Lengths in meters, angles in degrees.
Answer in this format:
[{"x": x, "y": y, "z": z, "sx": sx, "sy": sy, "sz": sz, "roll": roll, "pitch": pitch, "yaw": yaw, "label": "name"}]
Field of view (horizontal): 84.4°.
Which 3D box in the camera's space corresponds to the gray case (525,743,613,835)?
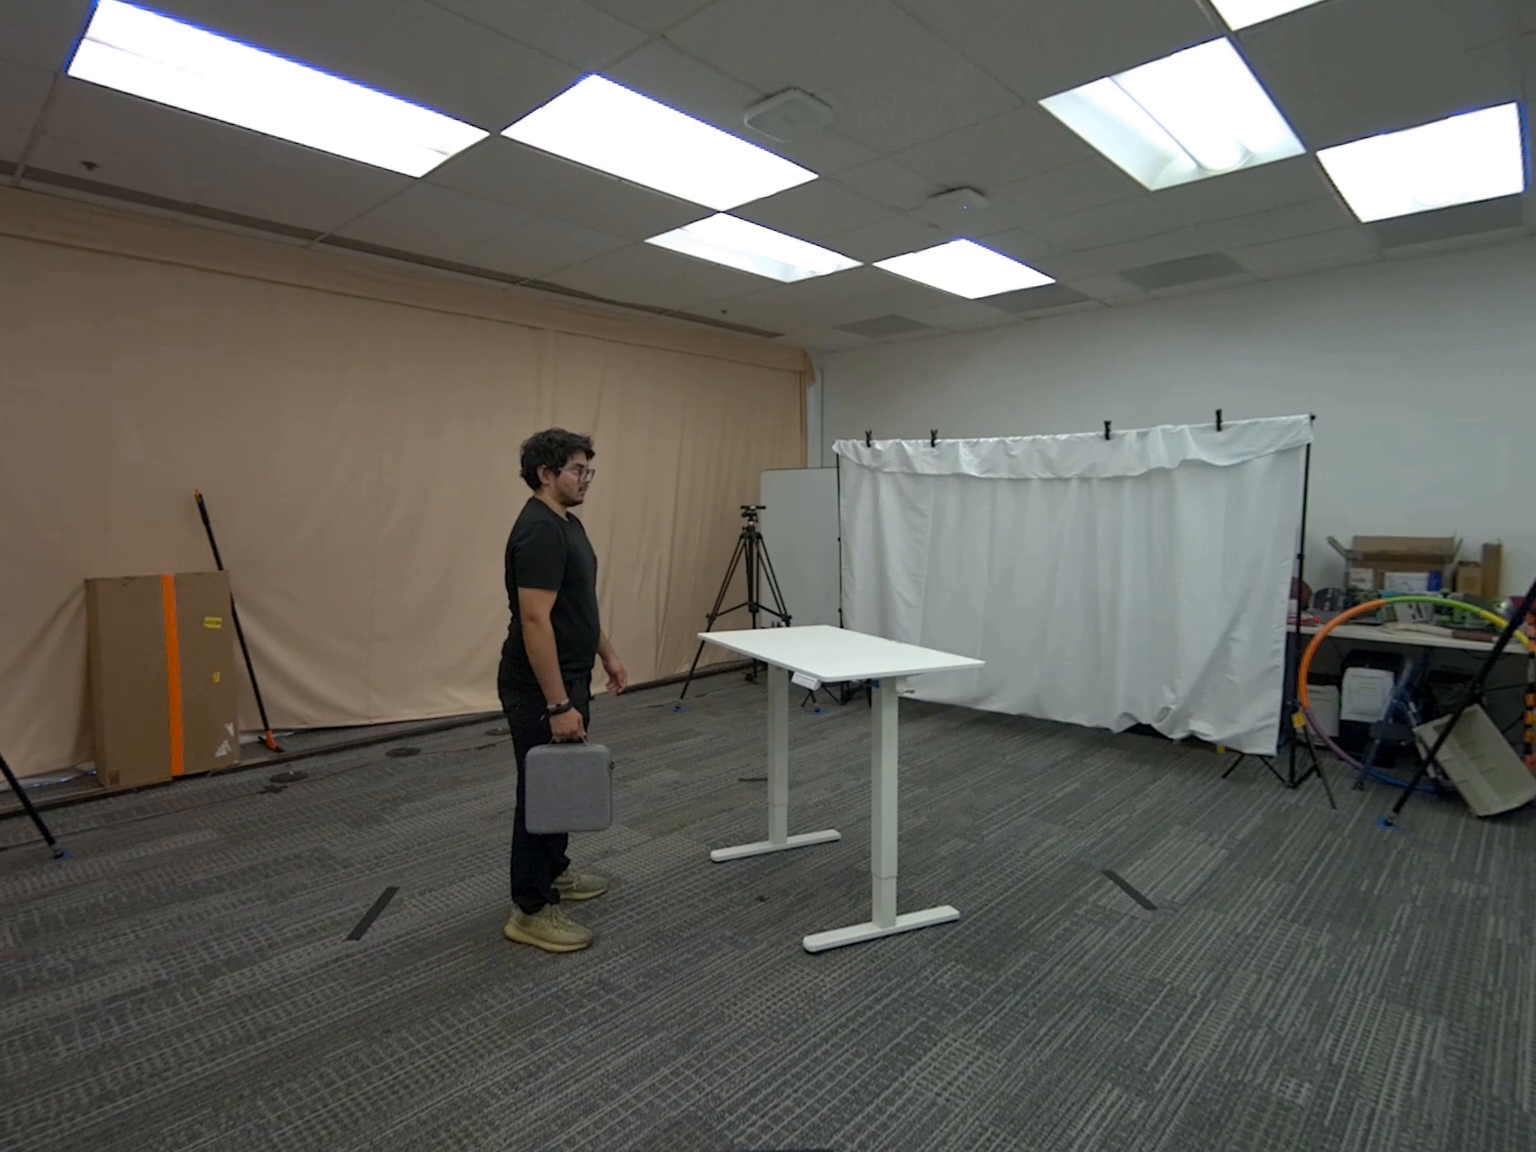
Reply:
[{"x": -0.601, "y": 0.644, "z": 2.535, "sx": 0.256, "sy": 0.261, "sz": 0.104, "roll": -2, "pitch": -6, "yaw": -2, "label": "gray case"}]
